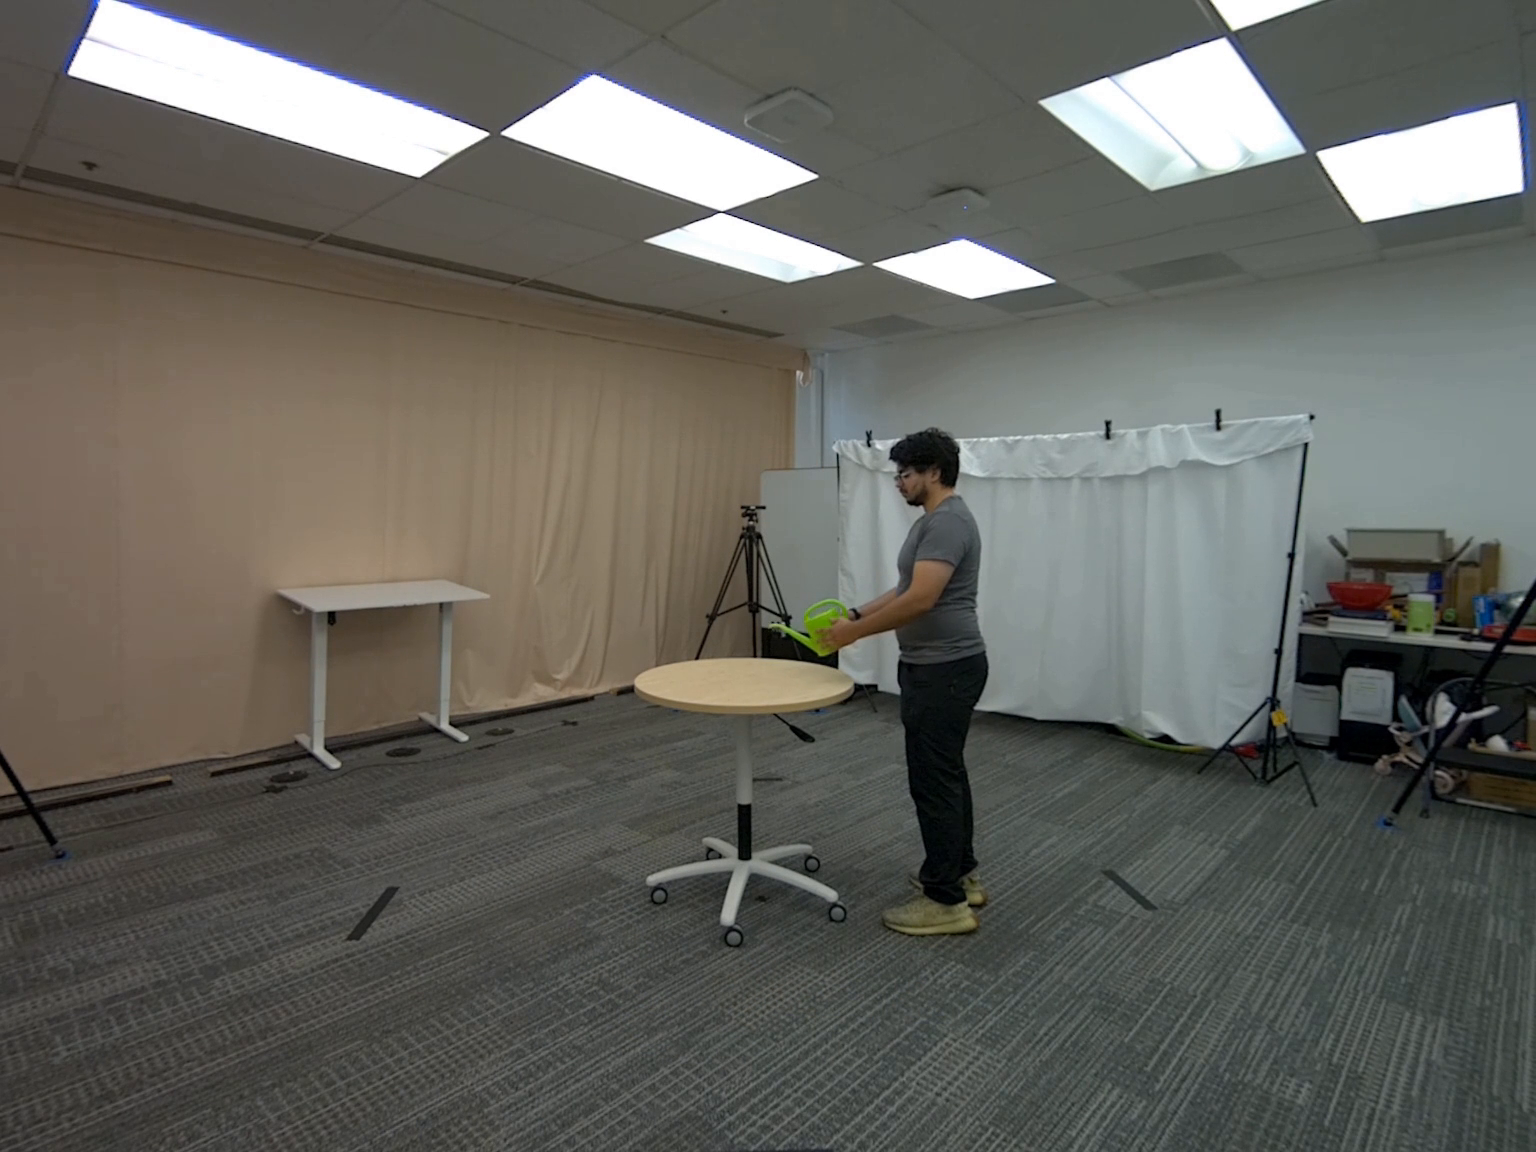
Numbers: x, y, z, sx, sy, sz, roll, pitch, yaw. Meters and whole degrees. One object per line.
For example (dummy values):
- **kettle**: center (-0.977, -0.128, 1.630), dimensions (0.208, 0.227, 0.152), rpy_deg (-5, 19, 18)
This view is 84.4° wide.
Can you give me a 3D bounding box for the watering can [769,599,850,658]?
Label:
- **watering can**: center (0.175, 0.201, 2.996), dimensions (0.283, 0.177, 0.096), rpy_deg (-25, -1, 27)
